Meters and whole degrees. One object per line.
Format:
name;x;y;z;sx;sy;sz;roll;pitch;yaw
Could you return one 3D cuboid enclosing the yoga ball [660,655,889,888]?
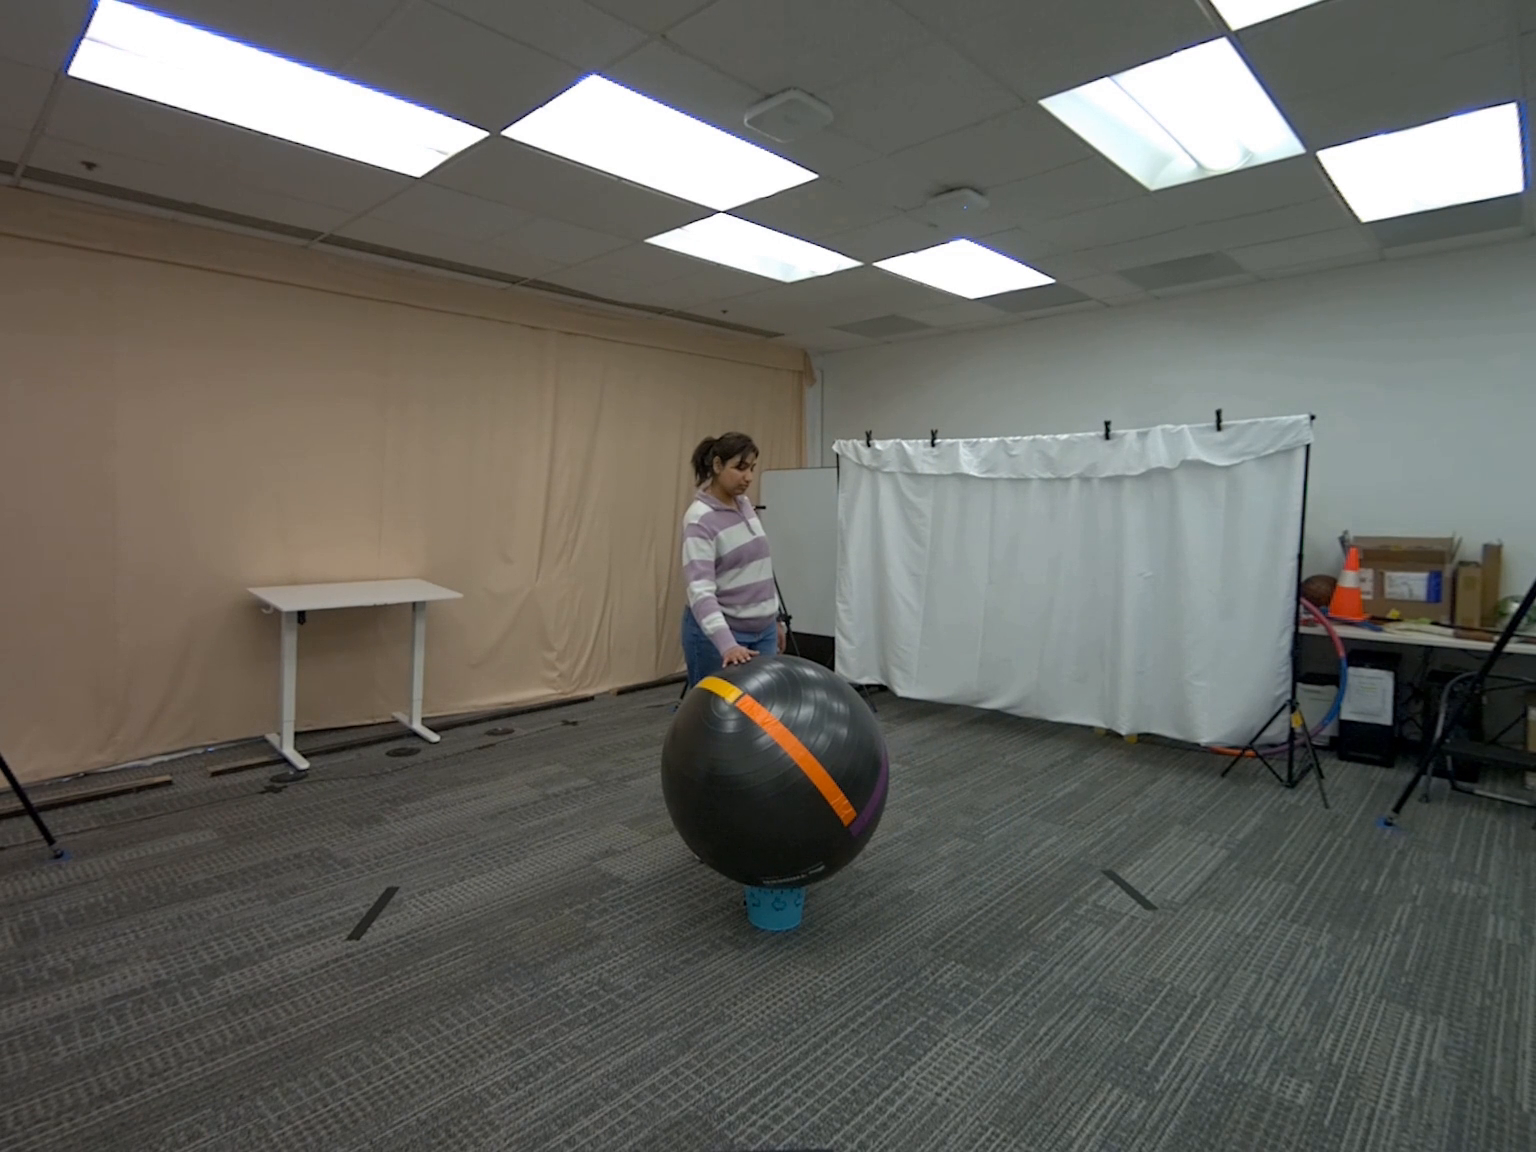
yoga ball;0.029;0.644;2.824;0.757;0.756;0.760;0;4;-2
